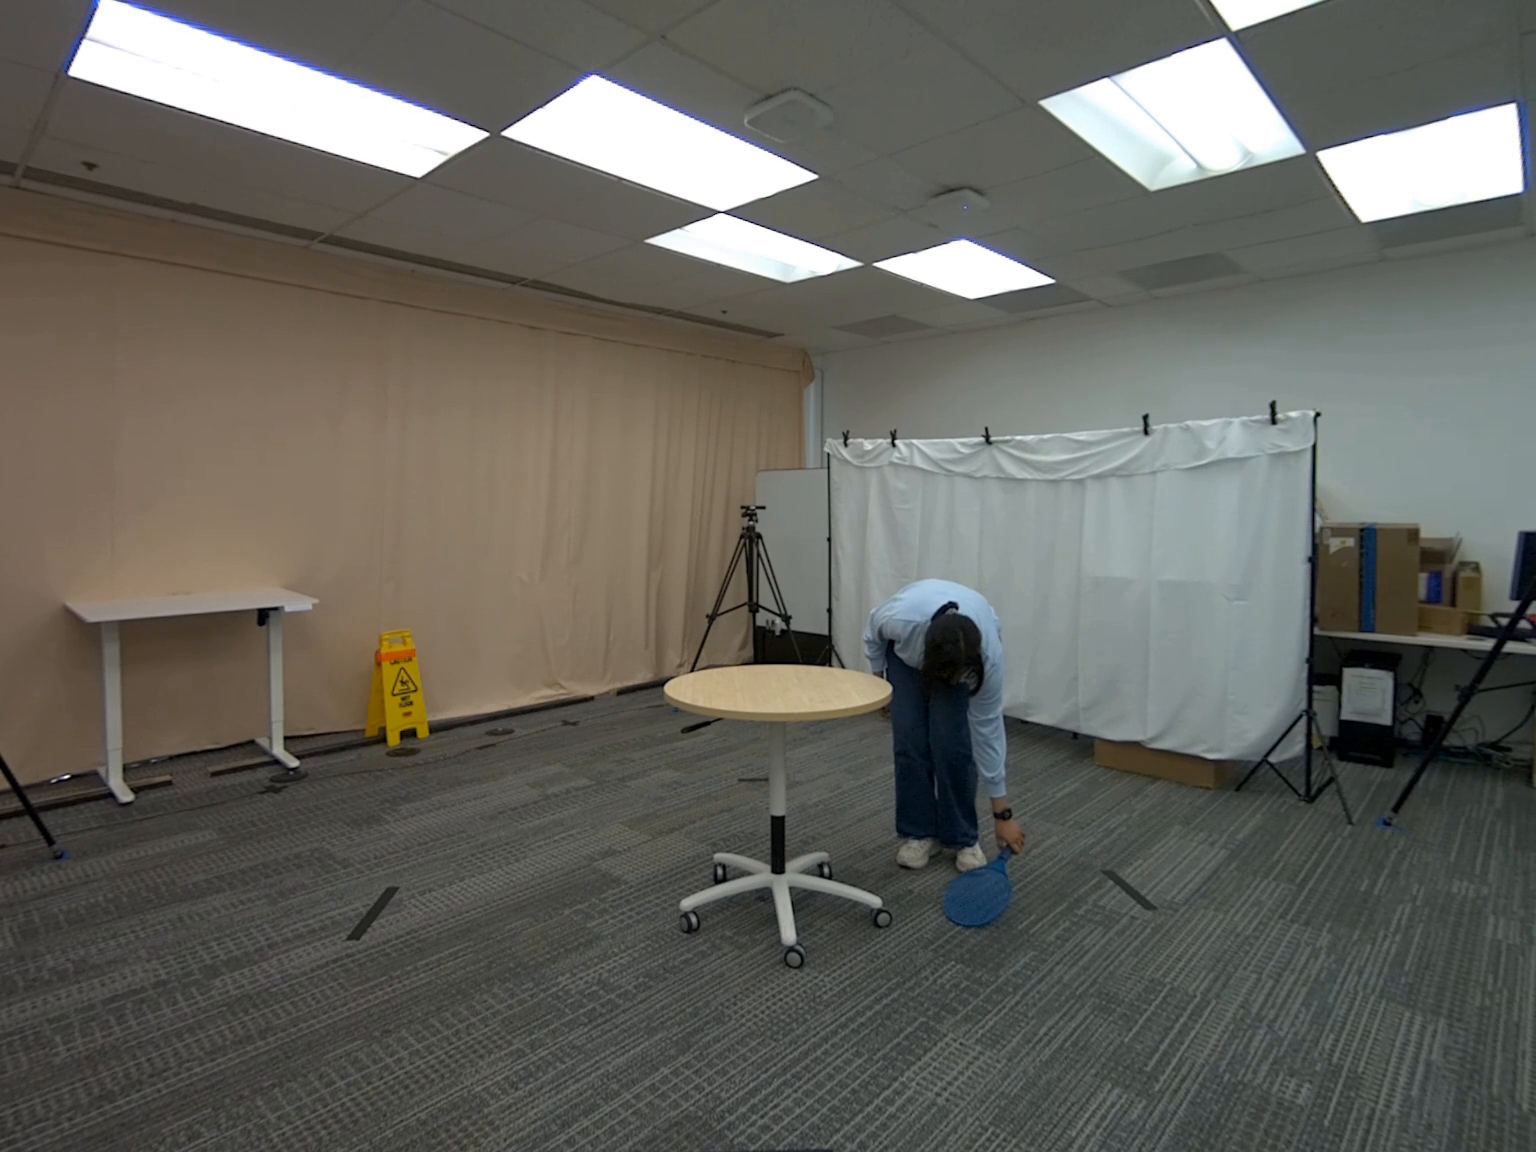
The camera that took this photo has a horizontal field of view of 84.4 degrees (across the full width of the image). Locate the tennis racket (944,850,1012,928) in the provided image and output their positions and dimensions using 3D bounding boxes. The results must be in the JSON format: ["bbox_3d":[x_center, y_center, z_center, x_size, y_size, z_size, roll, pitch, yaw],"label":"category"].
[{"bbox_3d":[0.758,1.050,2.917,0.221,0.031,0.426,6,32,43],"label":"tennis racket"}]
